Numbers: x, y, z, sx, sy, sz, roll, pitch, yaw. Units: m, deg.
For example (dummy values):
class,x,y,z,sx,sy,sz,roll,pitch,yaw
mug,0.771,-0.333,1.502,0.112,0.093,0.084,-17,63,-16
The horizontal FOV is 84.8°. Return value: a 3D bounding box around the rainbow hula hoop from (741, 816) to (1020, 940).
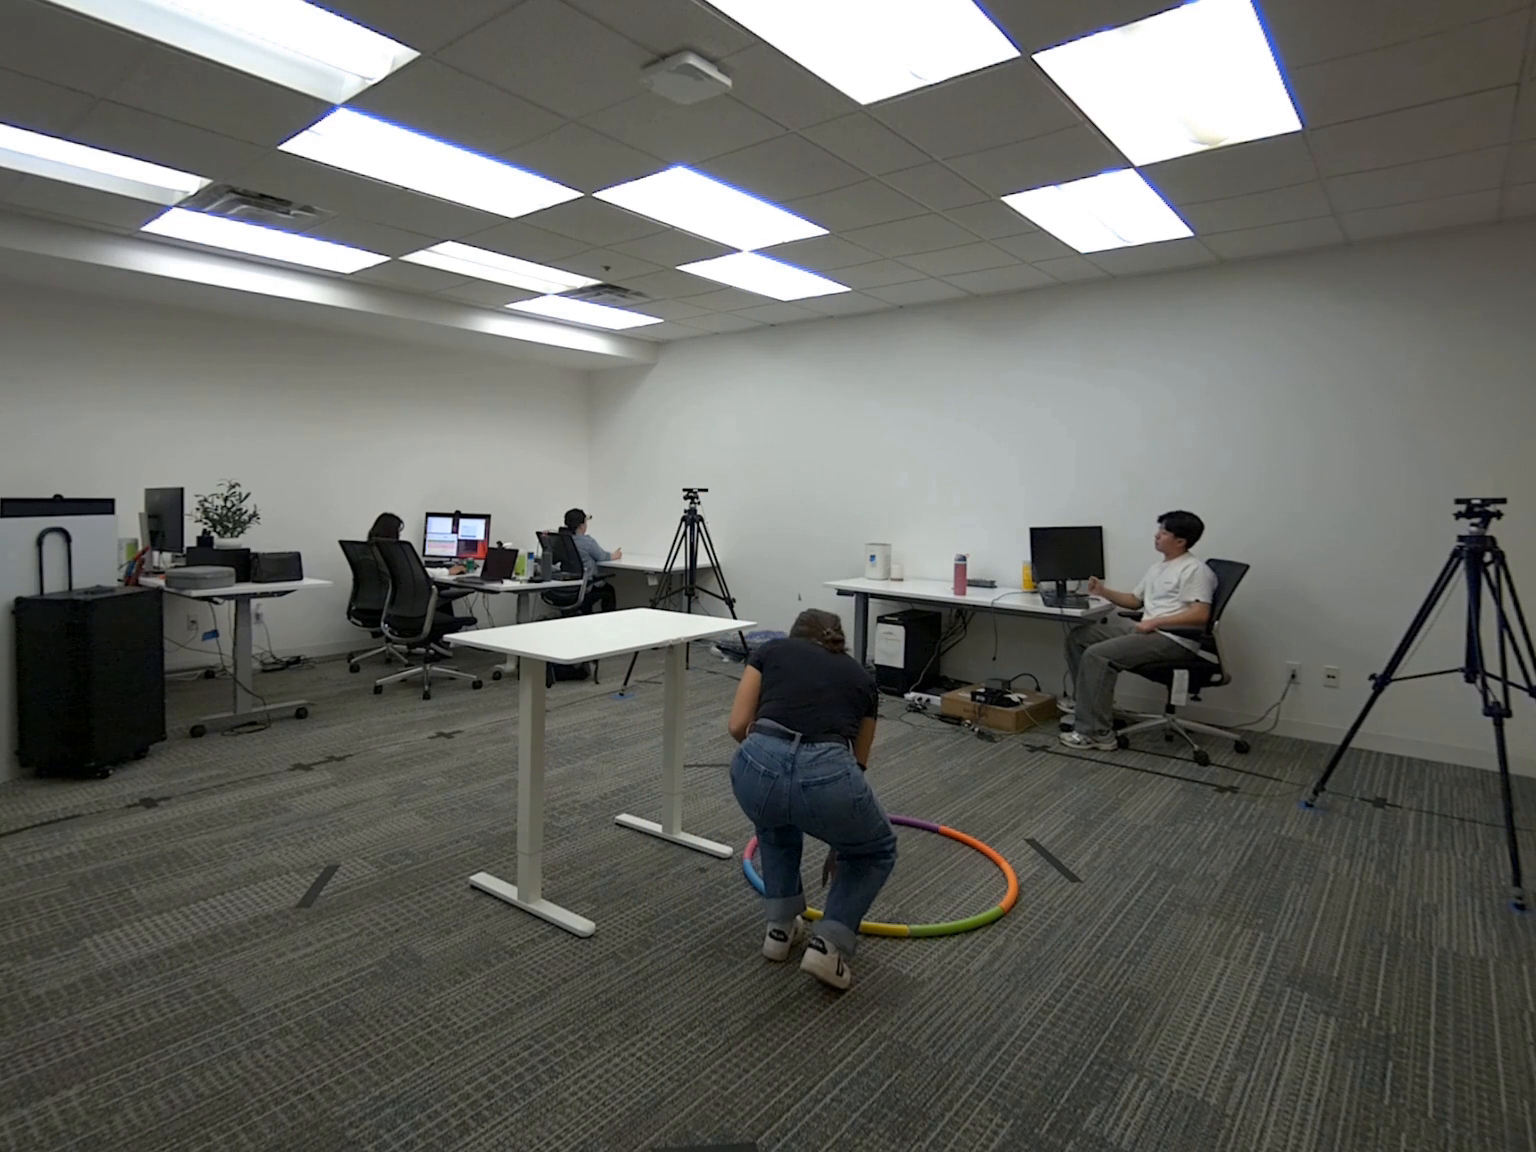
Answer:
class,x,y,z,sx,sy,sz,roll,pitch,yaw
rainbow hula hoop,0.398,1.044,3.142,0.978,0.035,0.984,1,6,-2
